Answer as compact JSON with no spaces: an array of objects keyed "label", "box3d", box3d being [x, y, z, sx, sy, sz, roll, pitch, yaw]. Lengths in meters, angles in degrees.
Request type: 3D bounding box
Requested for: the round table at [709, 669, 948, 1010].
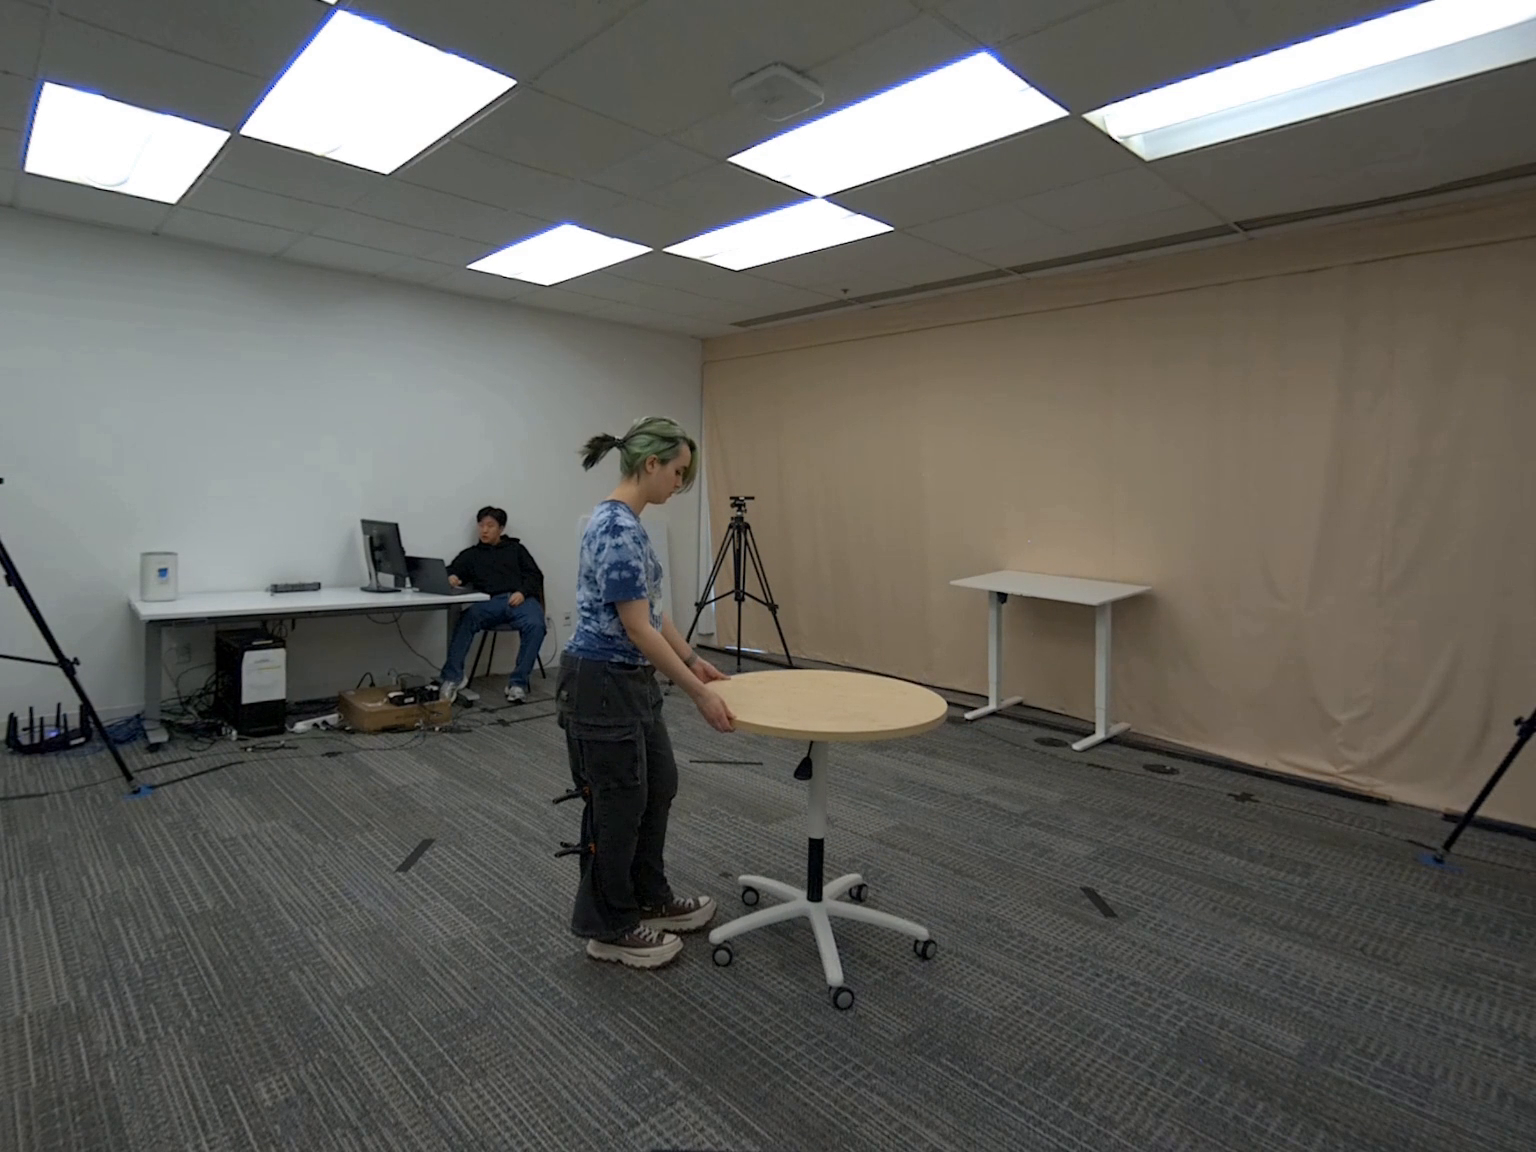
[{"label":"round table","box3d":[0.150,0.766,2.629,0.763,0.792,0.767,1,4,-1]}]
